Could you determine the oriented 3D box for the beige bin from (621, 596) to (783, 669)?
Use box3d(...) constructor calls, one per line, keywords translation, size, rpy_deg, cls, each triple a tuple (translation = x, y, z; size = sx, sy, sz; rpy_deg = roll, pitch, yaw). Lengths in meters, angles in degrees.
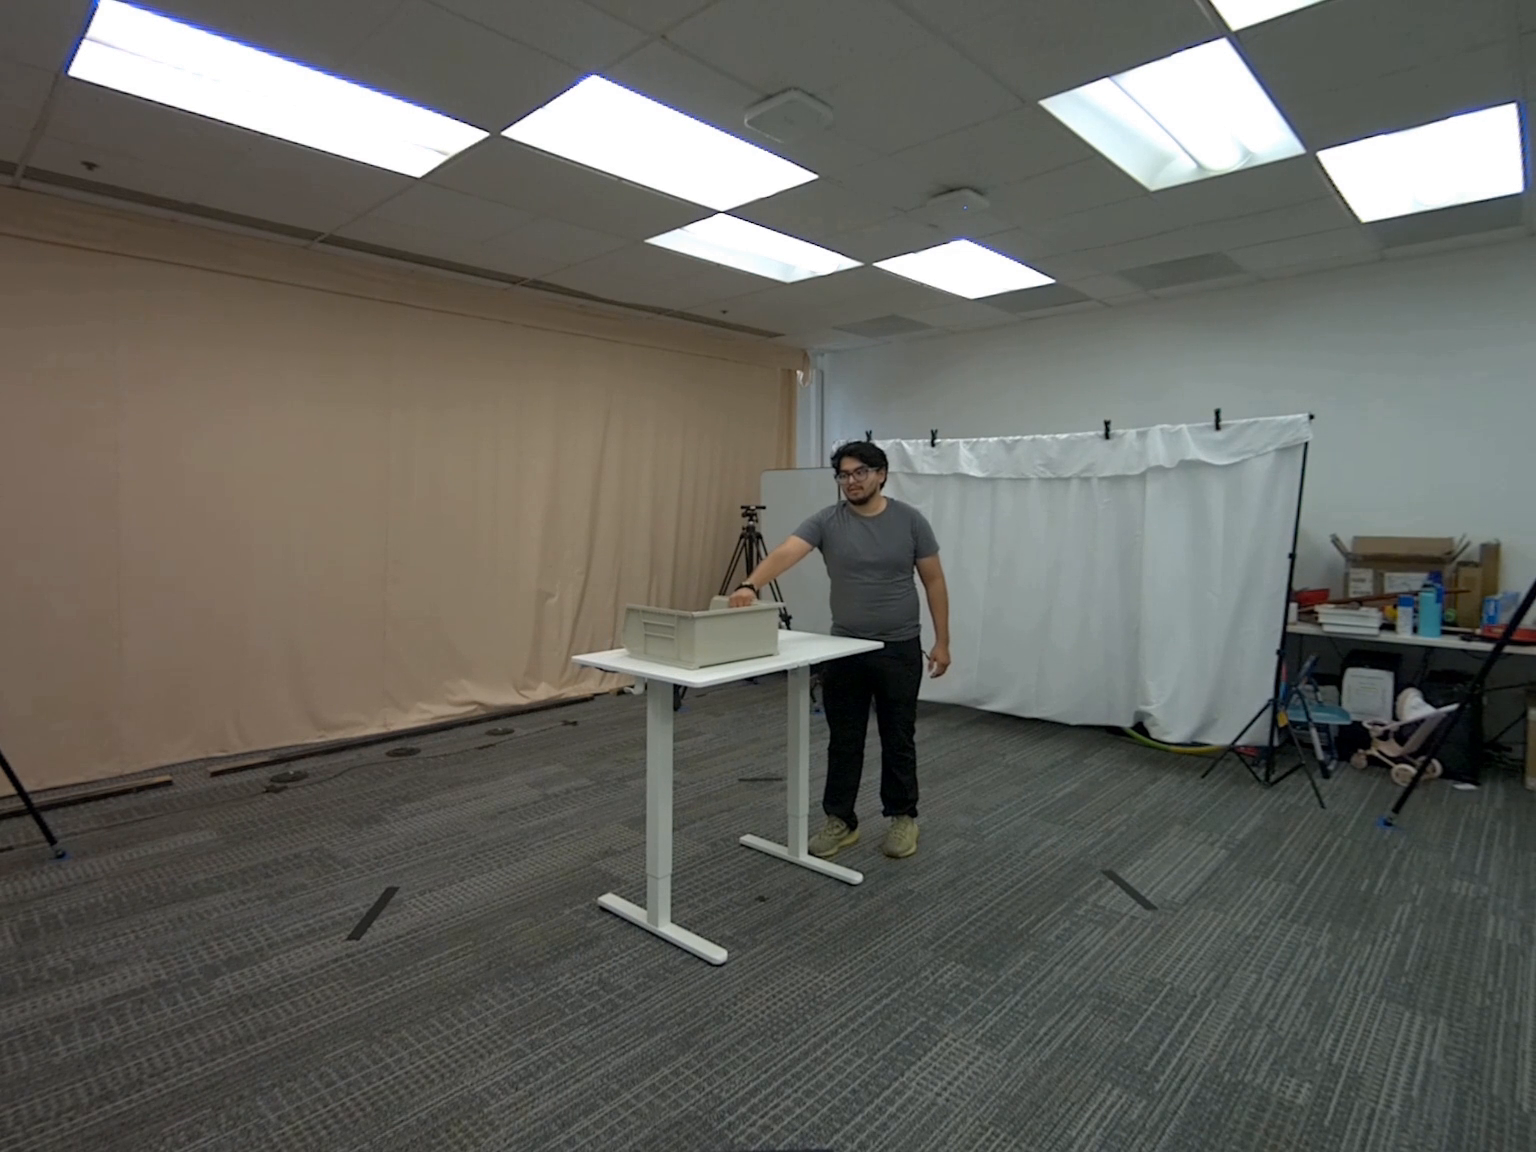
box3d(translation=(-0.225, 0.183, 2.856), size=(0.390, 0.188, 0.409), rpy_deg=(6, 7, 45), cls="beige bin")
